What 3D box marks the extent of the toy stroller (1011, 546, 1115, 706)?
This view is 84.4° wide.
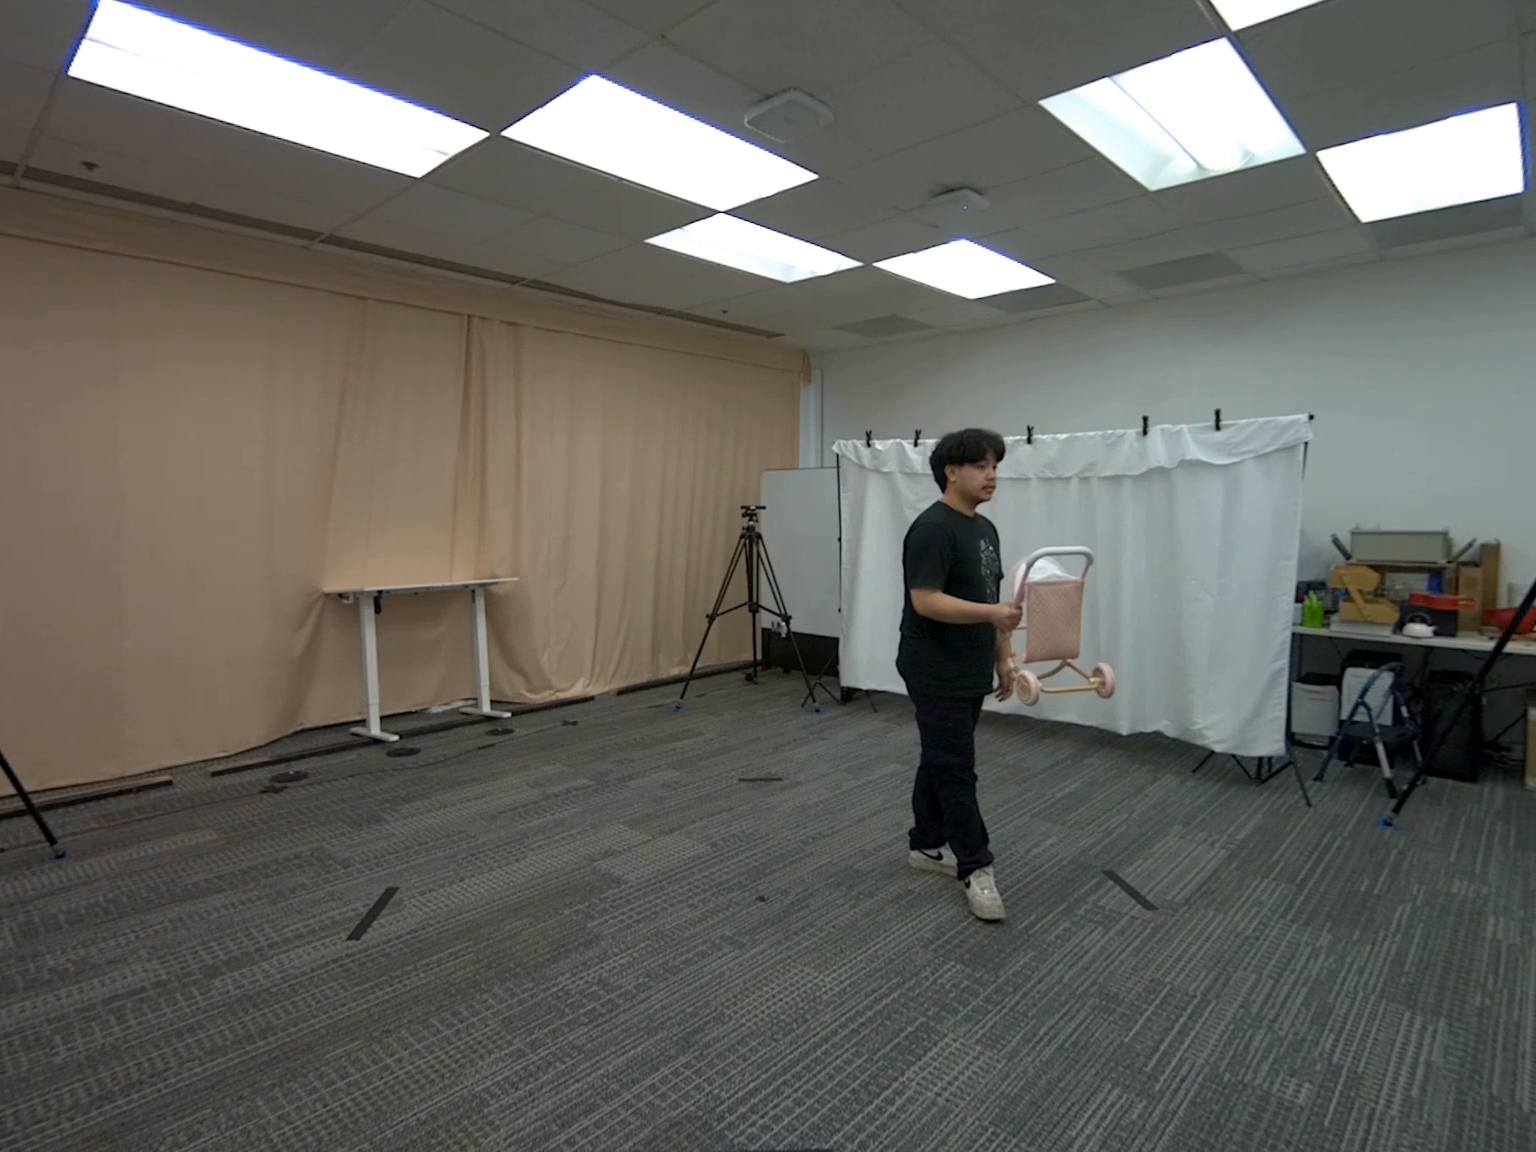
[{"bbox_3d":[0.889,0.174,2.691,0.280,0.534,0.343,-4,3,-4],"label":"toy stroller"}]
